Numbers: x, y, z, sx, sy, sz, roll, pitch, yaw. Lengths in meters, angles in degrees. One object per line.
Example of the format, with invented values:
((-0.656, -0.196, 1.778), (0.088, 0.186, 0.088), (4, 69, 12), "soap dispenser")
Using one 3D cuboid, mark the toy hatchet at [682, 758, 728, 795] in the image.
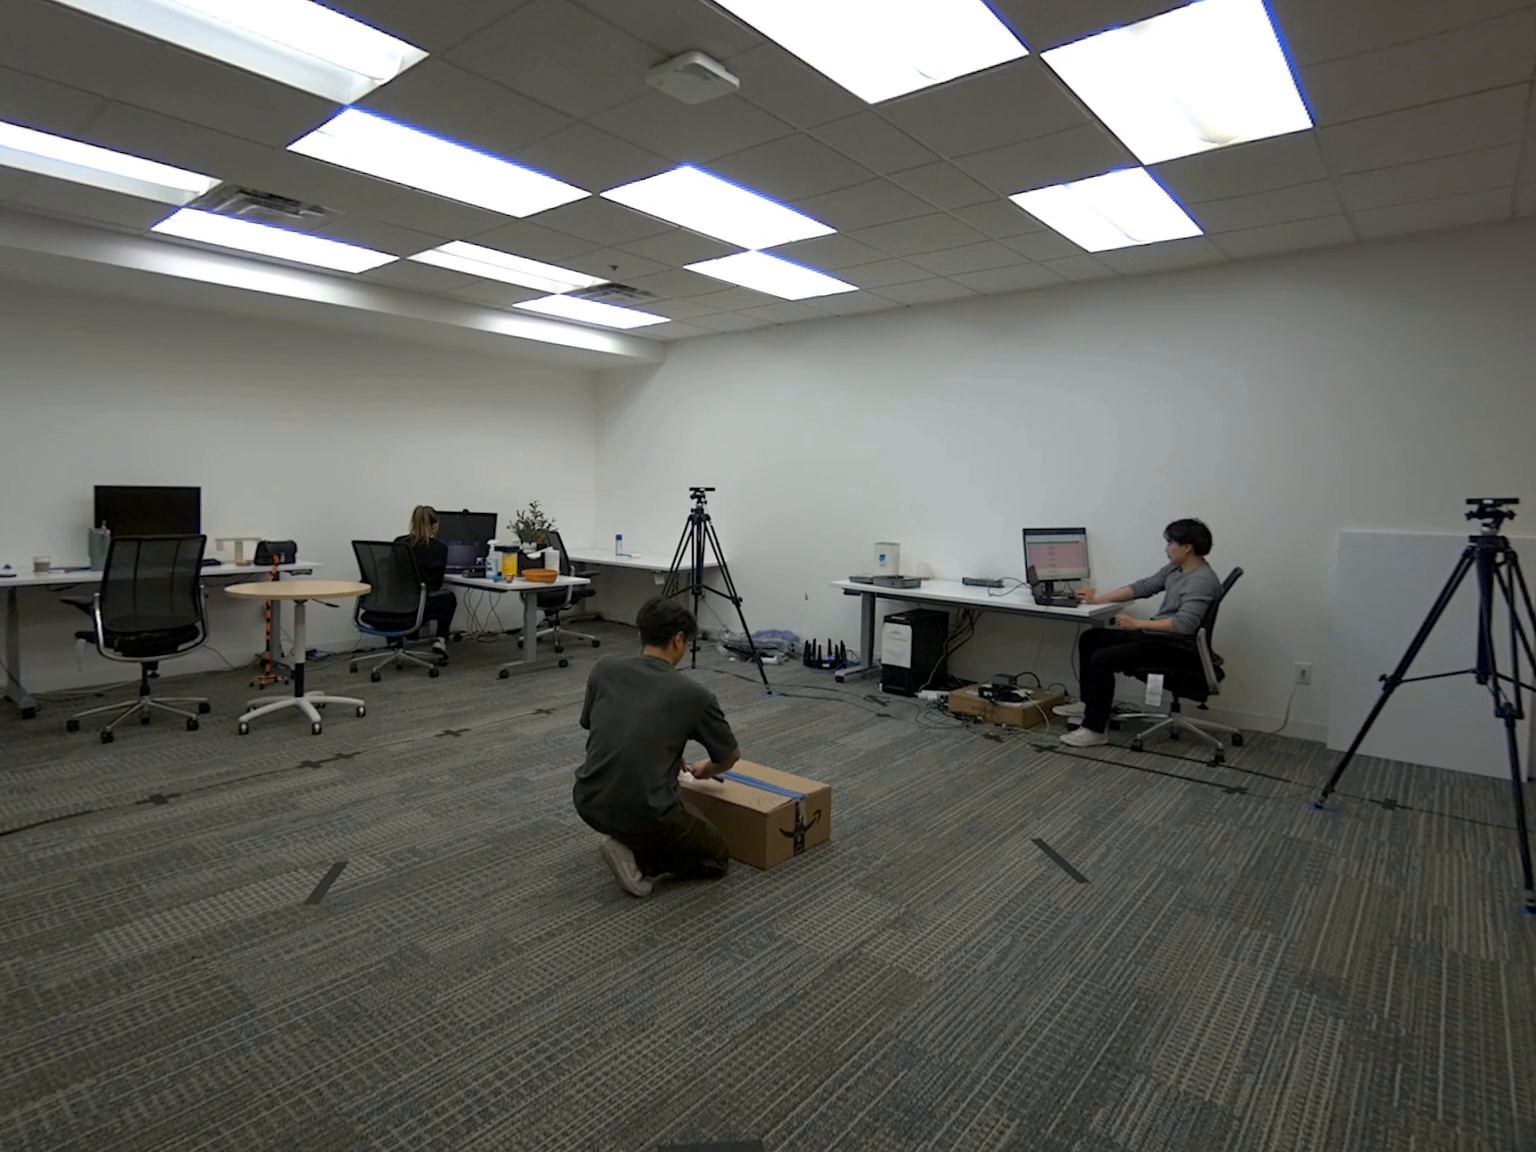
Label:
((-0.300, 0.789, 3.395), (0.278, 0.030, 0.126), (20, -26, 23), "toy hatchet")
